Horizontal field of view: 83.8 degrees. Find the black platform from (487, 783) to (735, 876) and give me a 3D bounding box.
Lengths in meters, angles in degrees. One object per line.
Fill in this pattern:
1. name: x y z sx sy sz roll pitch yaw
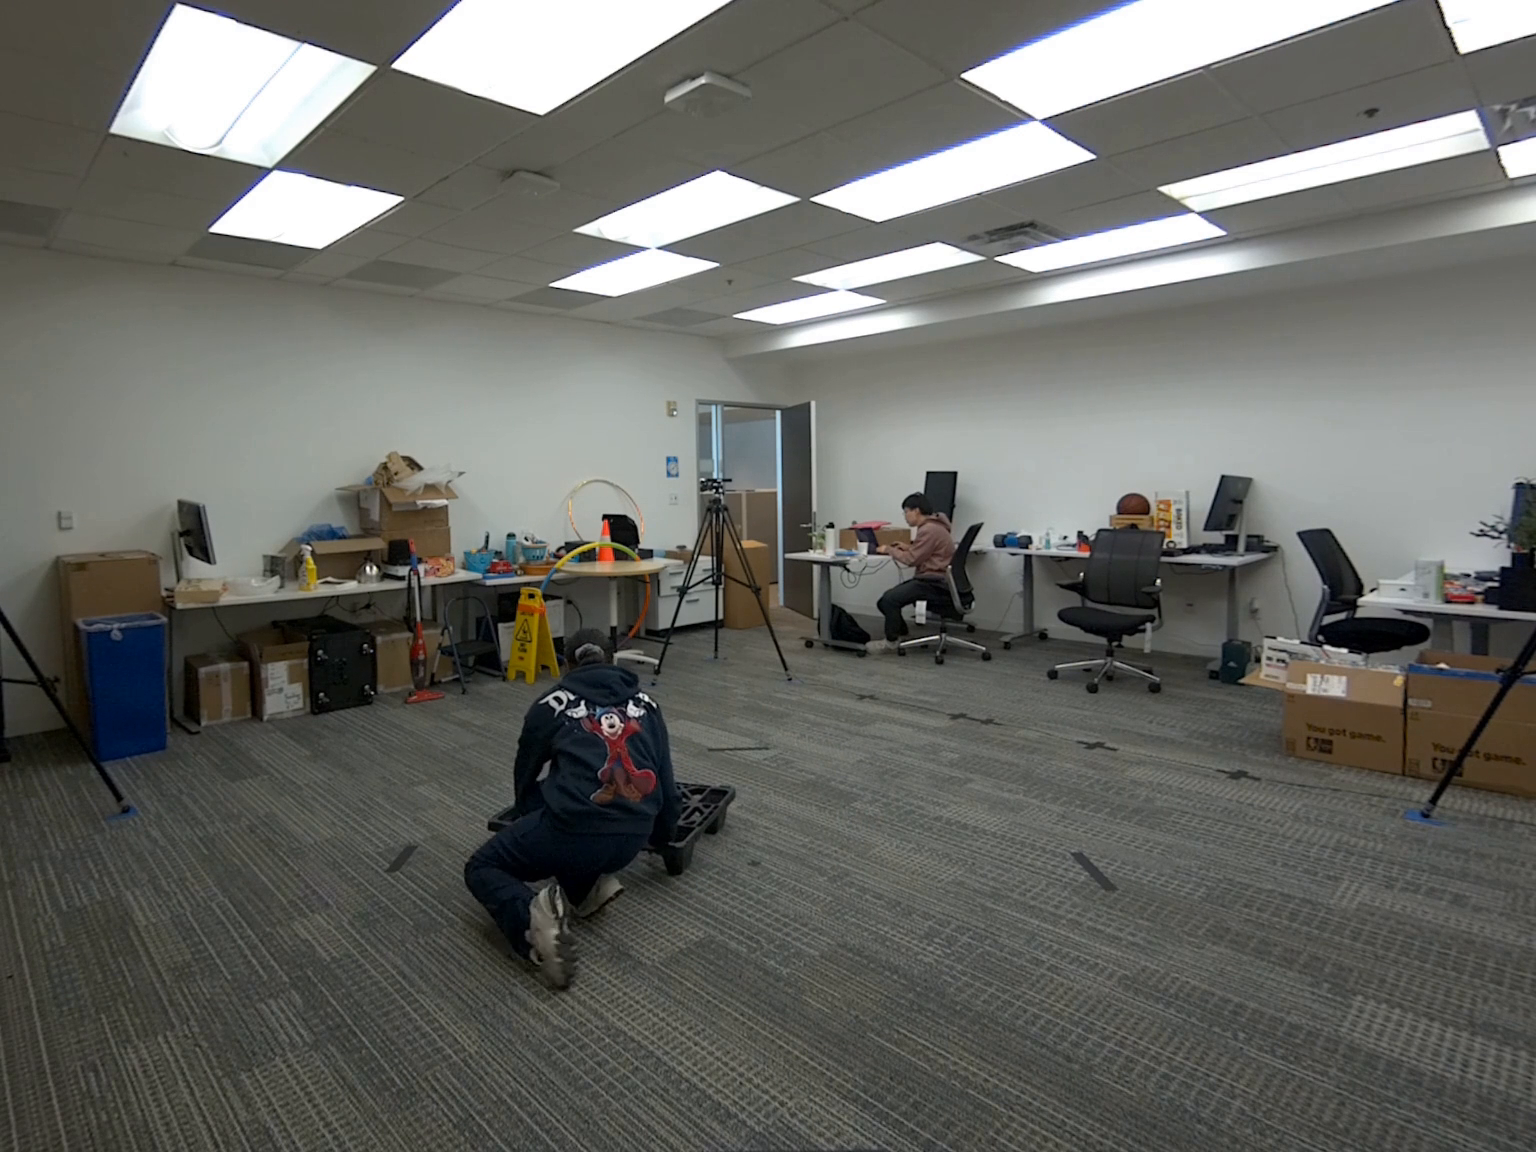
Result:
1. black platform: -0.580 0.957 3.346 0.820 0.142 0.597 1 7 18
